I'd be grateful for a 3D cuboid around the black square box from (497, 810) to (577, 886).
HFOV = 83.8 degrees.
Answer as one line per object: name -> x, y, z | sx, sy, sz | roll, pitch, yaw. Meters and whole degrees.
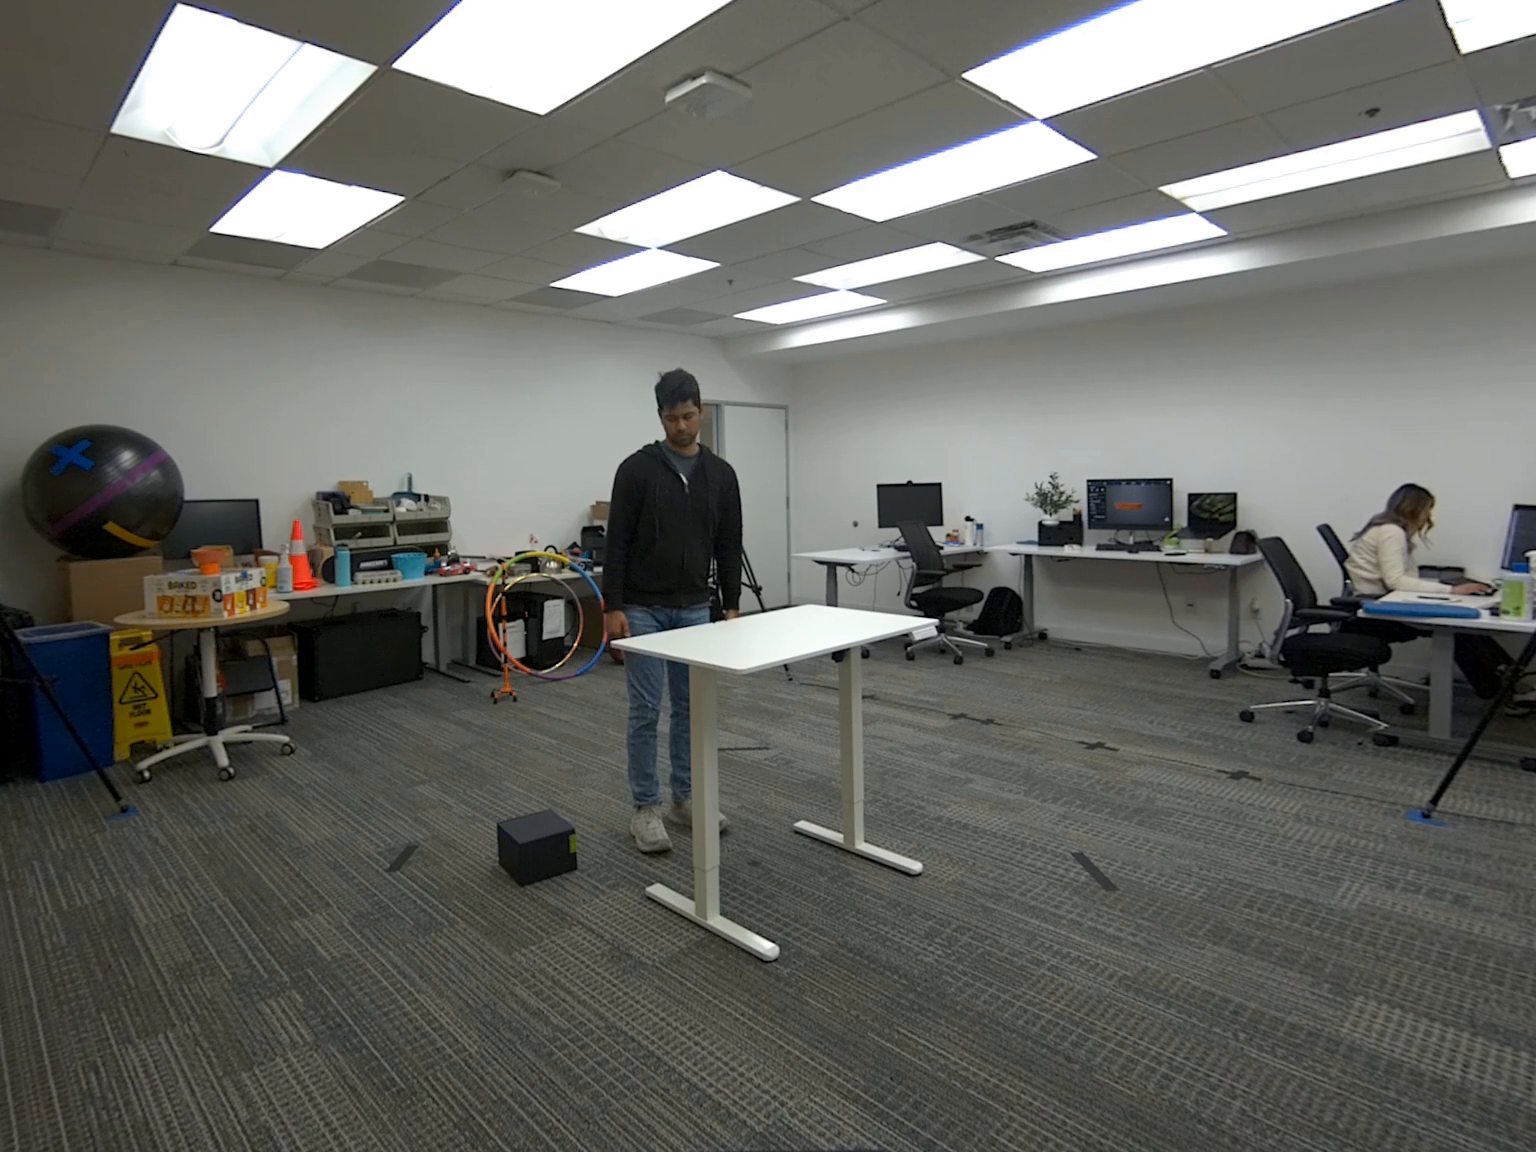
black square box -> -0.835, 0.977, 3.102 | 0.211, 0.155, 0.235 | -6, 7, -36
